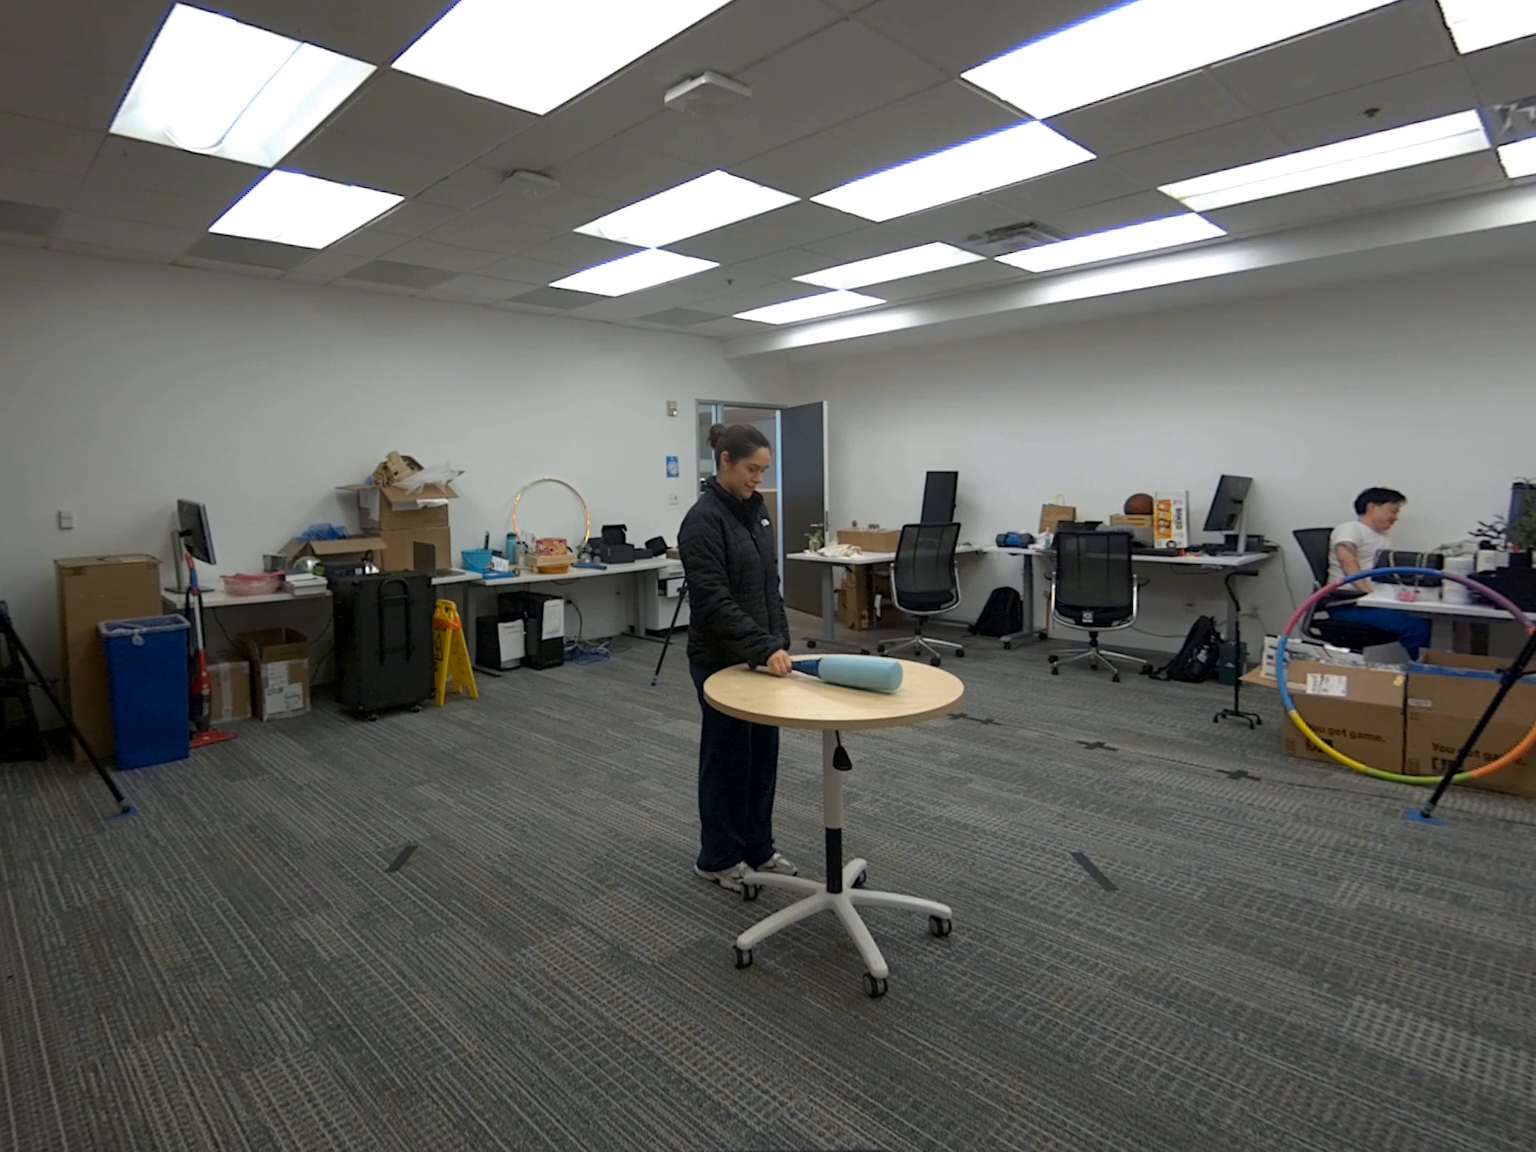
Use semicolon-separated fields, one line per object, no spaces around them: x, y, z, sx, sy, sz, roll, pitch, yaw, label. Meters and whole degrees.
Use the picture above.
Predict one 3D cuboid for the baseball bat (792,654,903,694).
0.160;0.279;2.597;0.559;0.089;0.087;1;5;41;baseball bat
